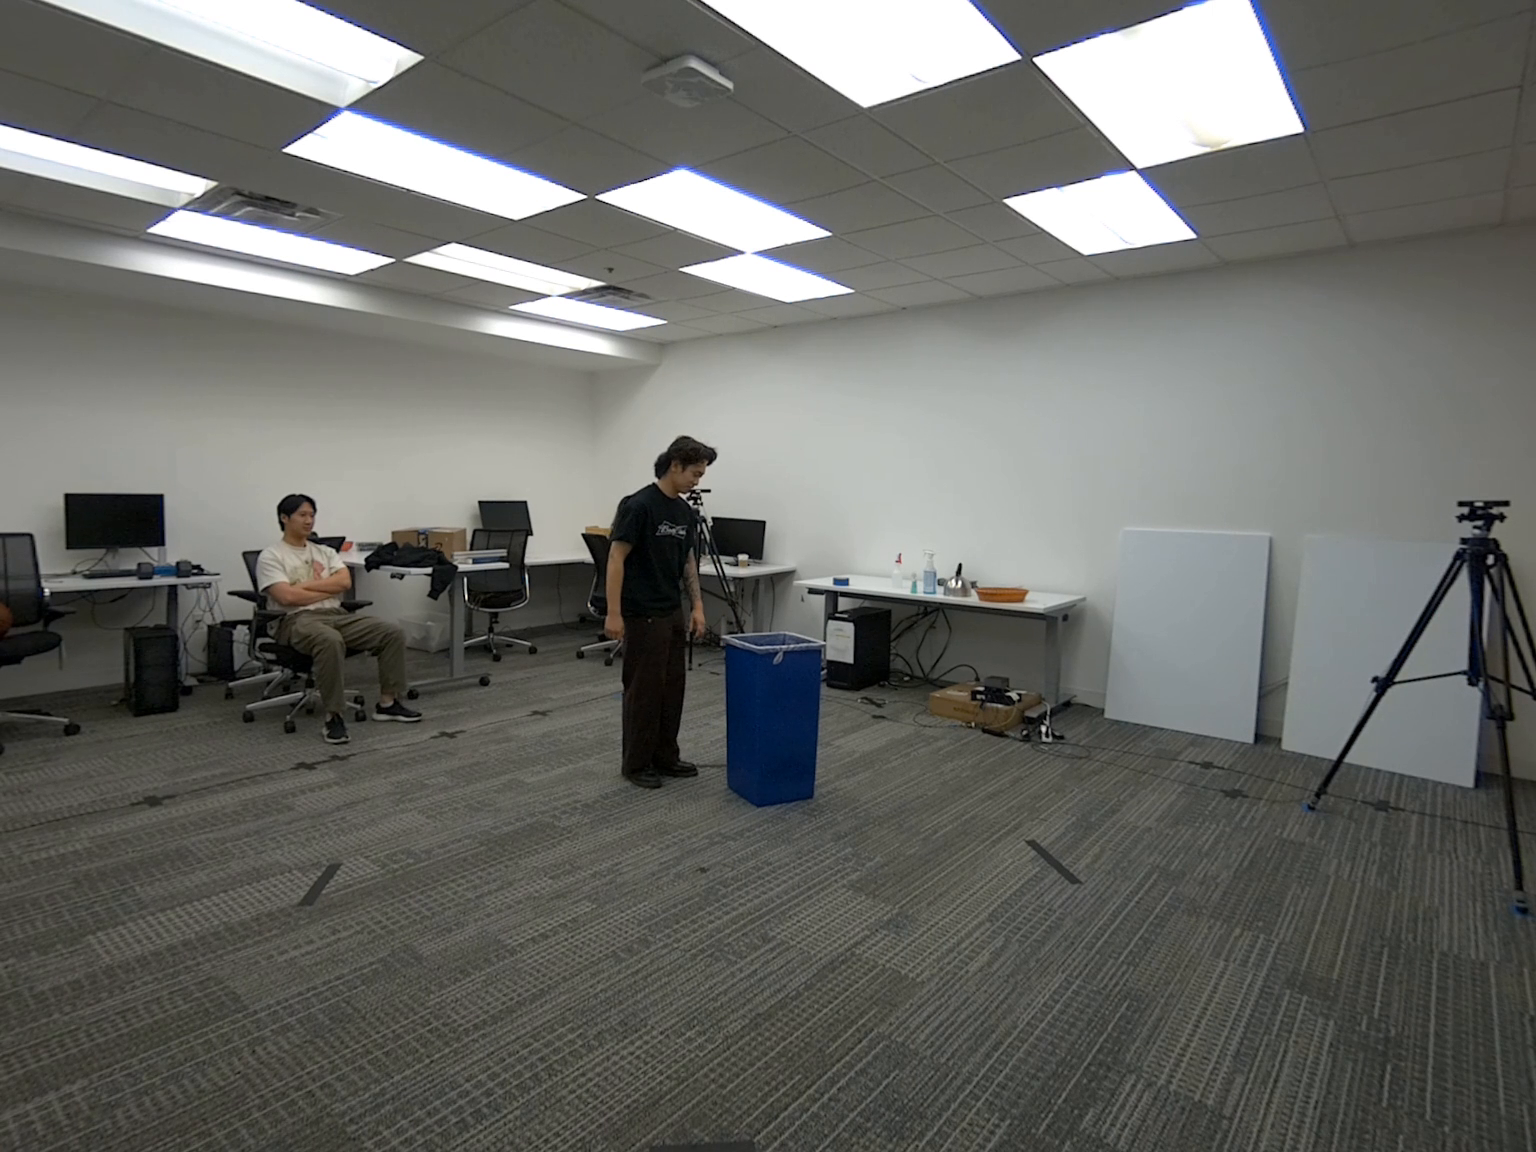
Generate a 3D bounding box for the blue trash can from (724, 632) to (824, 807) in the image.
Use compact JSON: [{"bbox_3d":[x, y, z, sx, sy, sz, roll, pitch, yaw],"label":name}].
[{"bbox_3d":[-0.002,0.642,3.929,0.368,0.711,0.385,0,4,-30],"label":"blue trash can"}]
